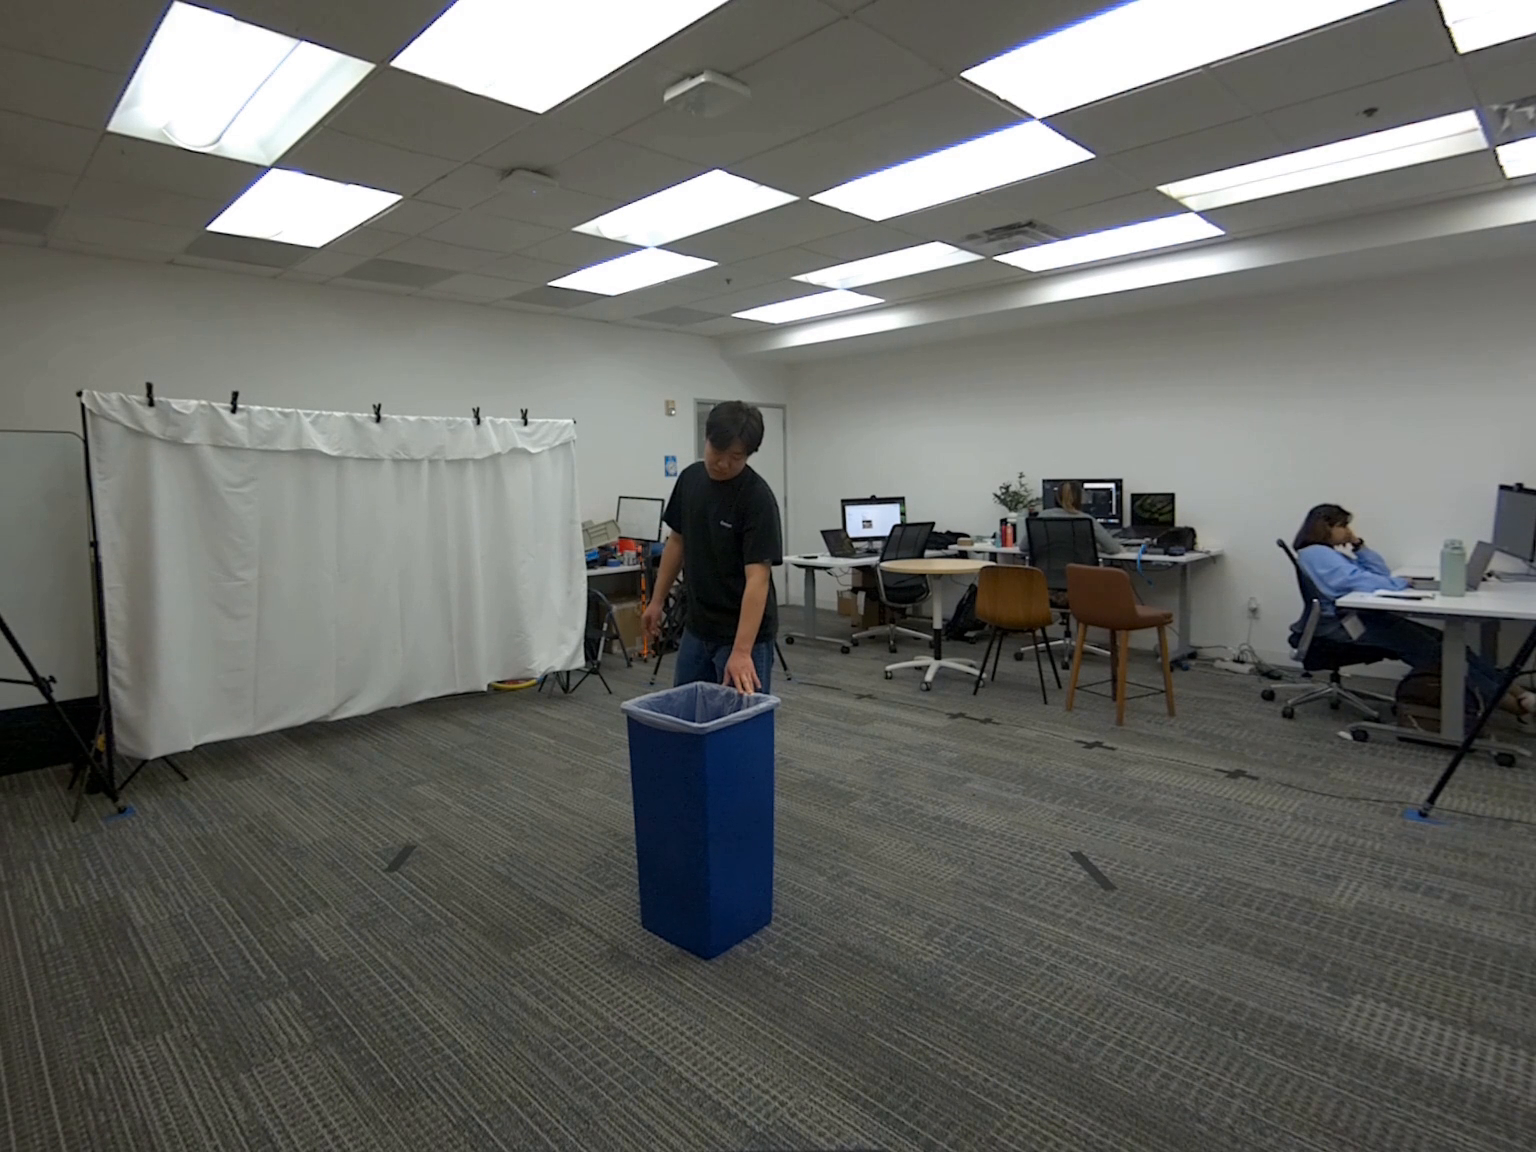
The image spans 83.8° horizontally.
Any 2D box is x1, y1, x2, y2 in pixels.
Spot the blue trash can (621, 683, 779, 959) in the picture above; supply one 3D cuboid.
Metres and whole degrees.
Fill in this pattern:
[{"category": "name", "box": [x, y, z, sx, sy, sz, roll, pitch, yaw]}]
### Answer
[{"category": "blue trash can", "box": [-0.200, 0.744, 2.655, 0.389, 0.711, 0.364, 2, 5, 40]}]
